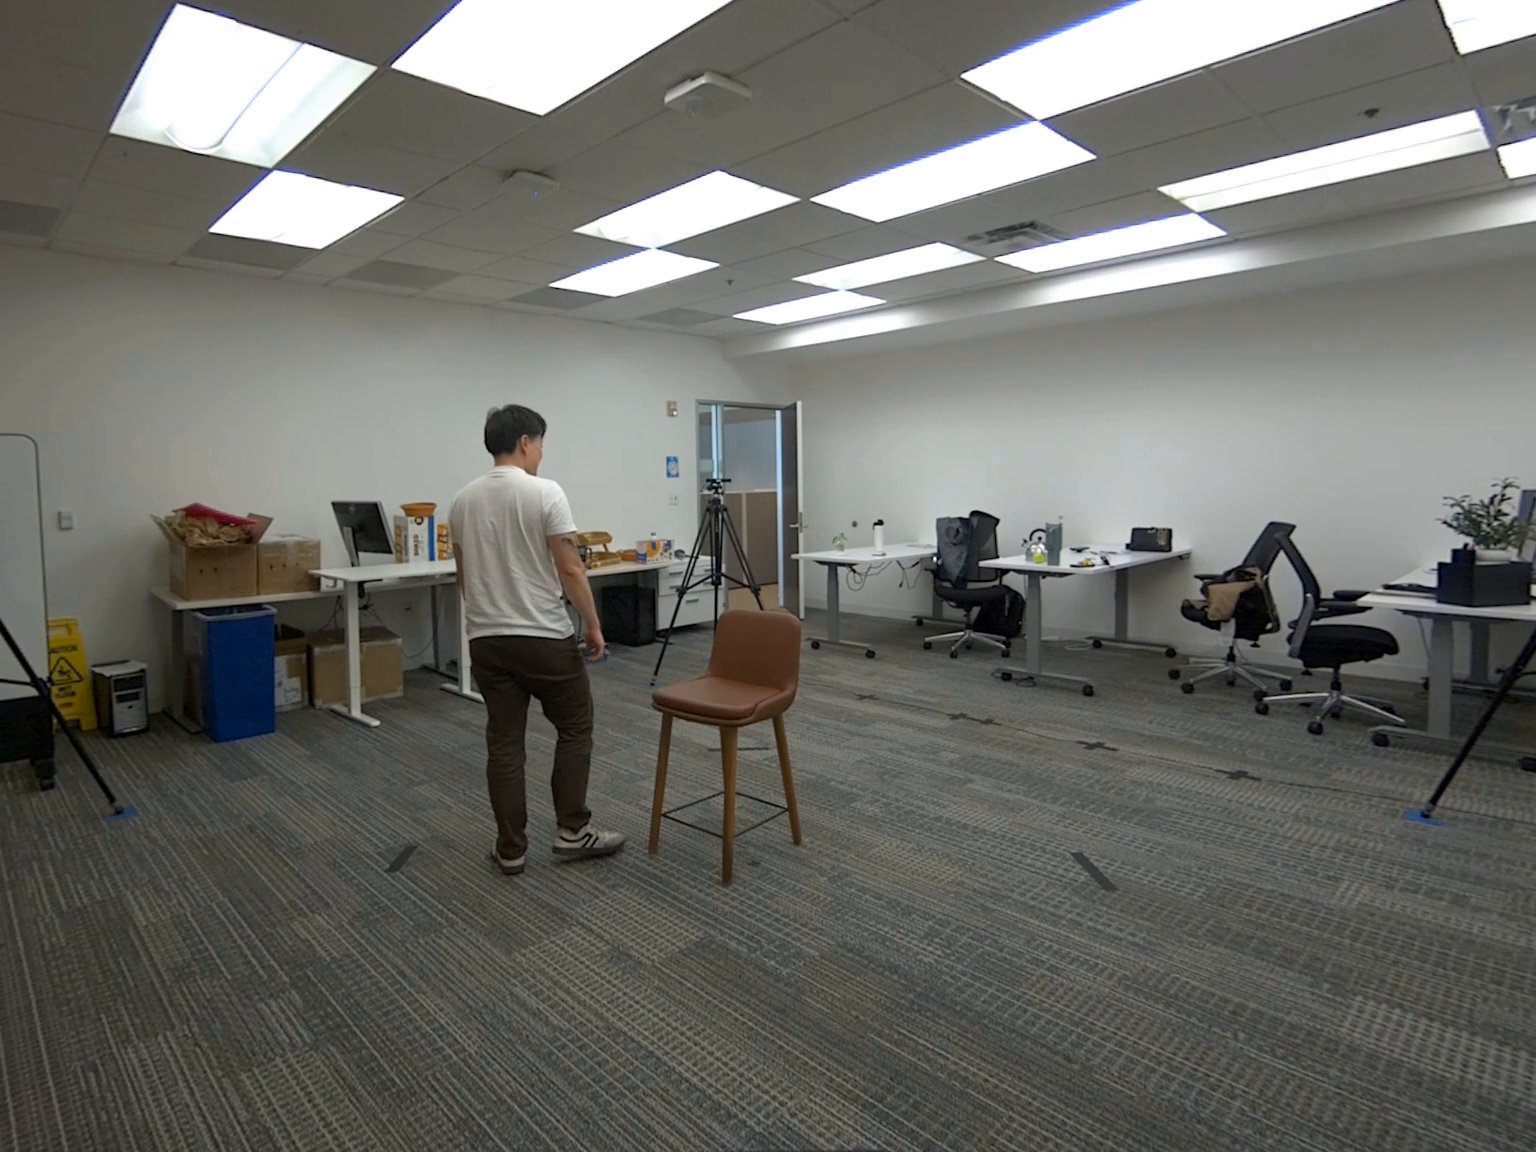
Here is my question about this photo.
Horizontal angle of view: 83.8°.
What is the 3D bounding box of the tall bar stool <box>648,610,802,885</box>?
[{"bbox_3d":[-0.157,0.598,3.212,0.470,0.888,0.455,3,3,41],"label":"tall bar stool"}]
